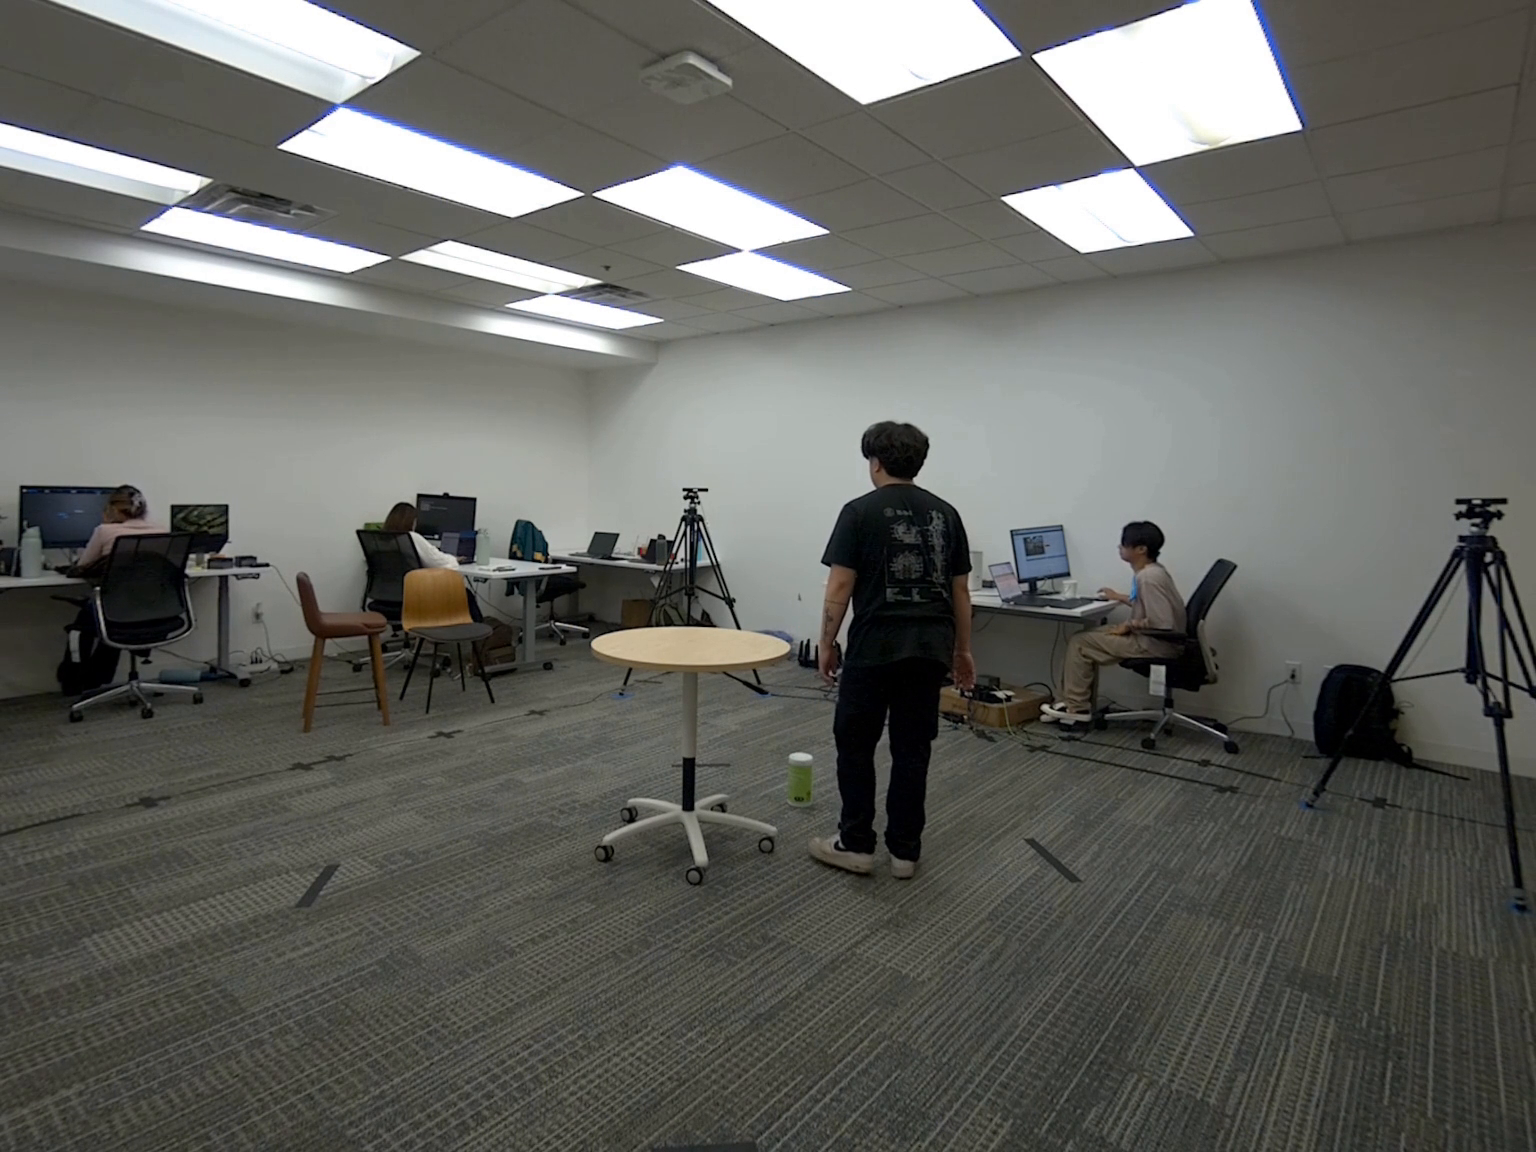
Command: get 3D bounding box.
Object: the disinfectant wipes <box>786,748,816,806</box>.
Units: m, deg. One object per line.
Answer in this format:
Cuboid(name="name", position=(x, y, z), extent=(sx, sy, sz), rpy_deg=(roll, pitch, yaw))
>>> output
Cuboid(name="disinfectant wipes", position=(0.144, 0.899, 3.782), extent=(0.118, 0.217, 0.118), rpy_deg=(-1, 4, -2))
